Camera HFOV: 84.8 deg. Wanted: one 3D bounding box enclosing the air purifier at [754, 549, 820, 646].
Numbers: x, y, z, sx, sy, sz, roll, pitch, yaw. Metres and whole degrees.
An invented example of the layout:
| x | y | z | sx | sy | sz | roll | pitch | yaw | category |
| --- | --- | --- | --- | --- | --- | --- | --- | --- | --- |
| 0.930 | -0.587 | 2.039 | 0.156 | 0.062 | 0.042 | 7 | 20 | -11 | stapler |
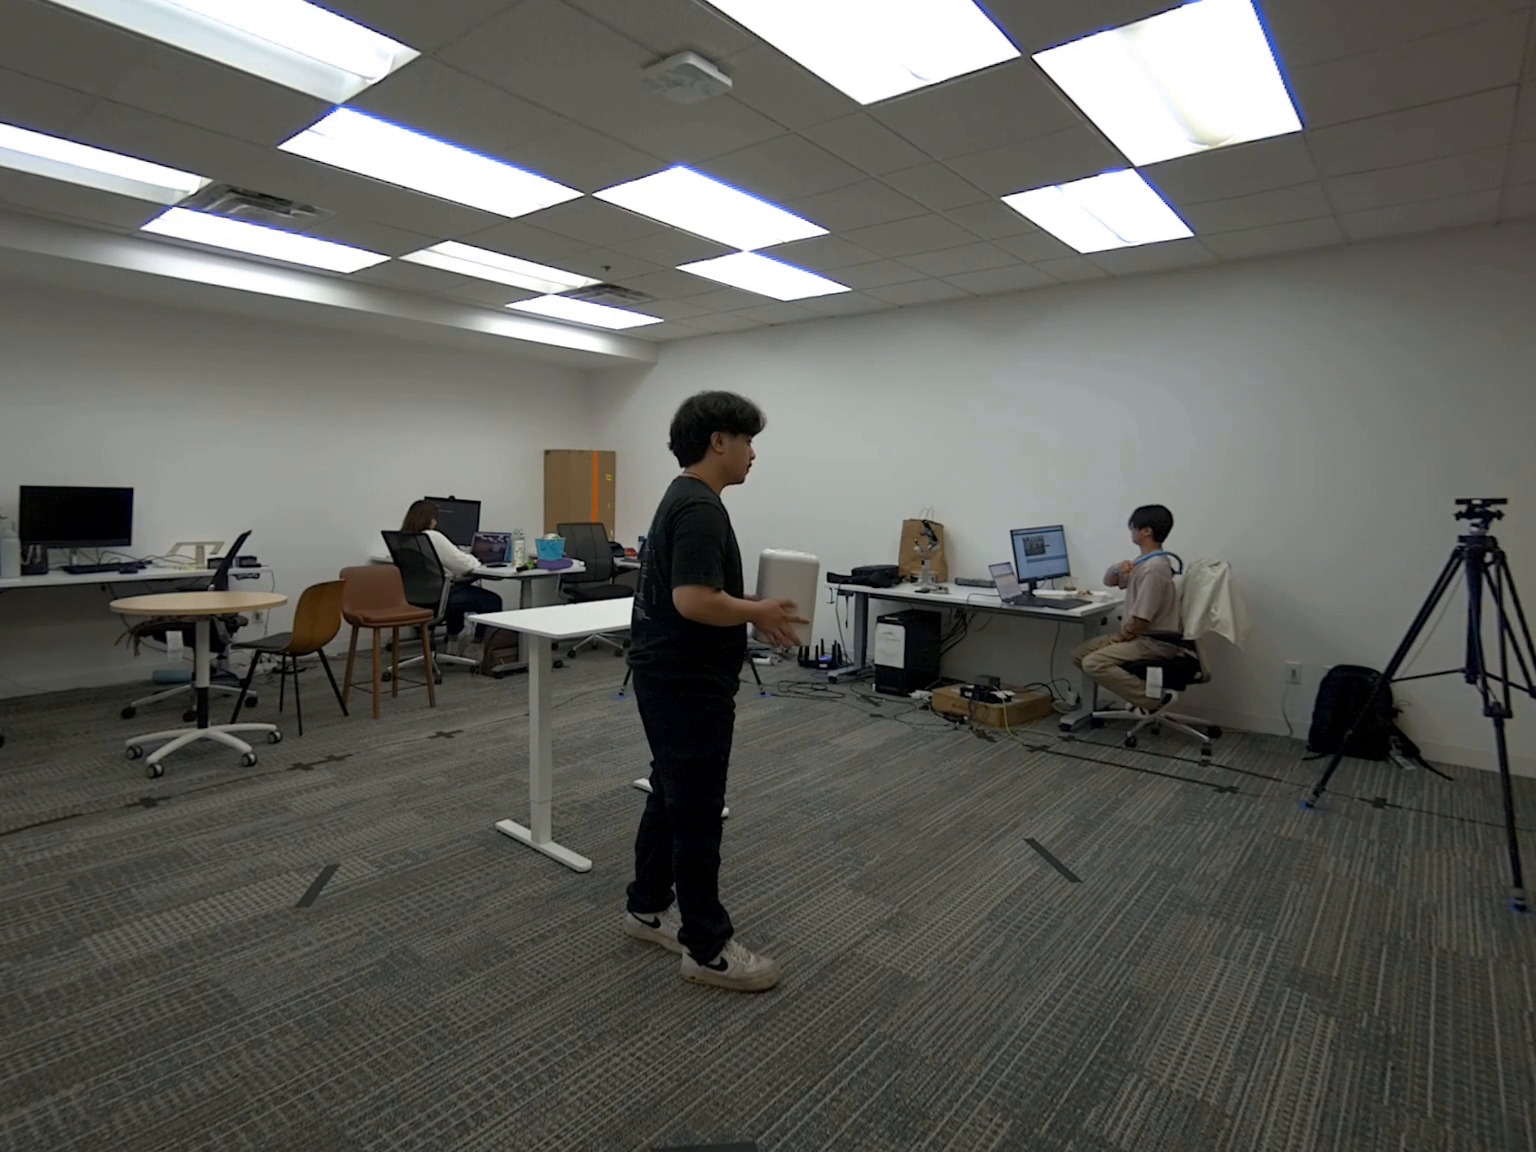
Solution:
| x | y | z | sx | sy | sz | roll | pitch | yaw | category |
| --- | --- | --- | --- | --- | --- | --- | --- | --- | --- |
| 0.042 | 0.053 | 2.505 | 0.170 | 0.265 | 0.173 | 6 | 1 | -7 | air purifier |
